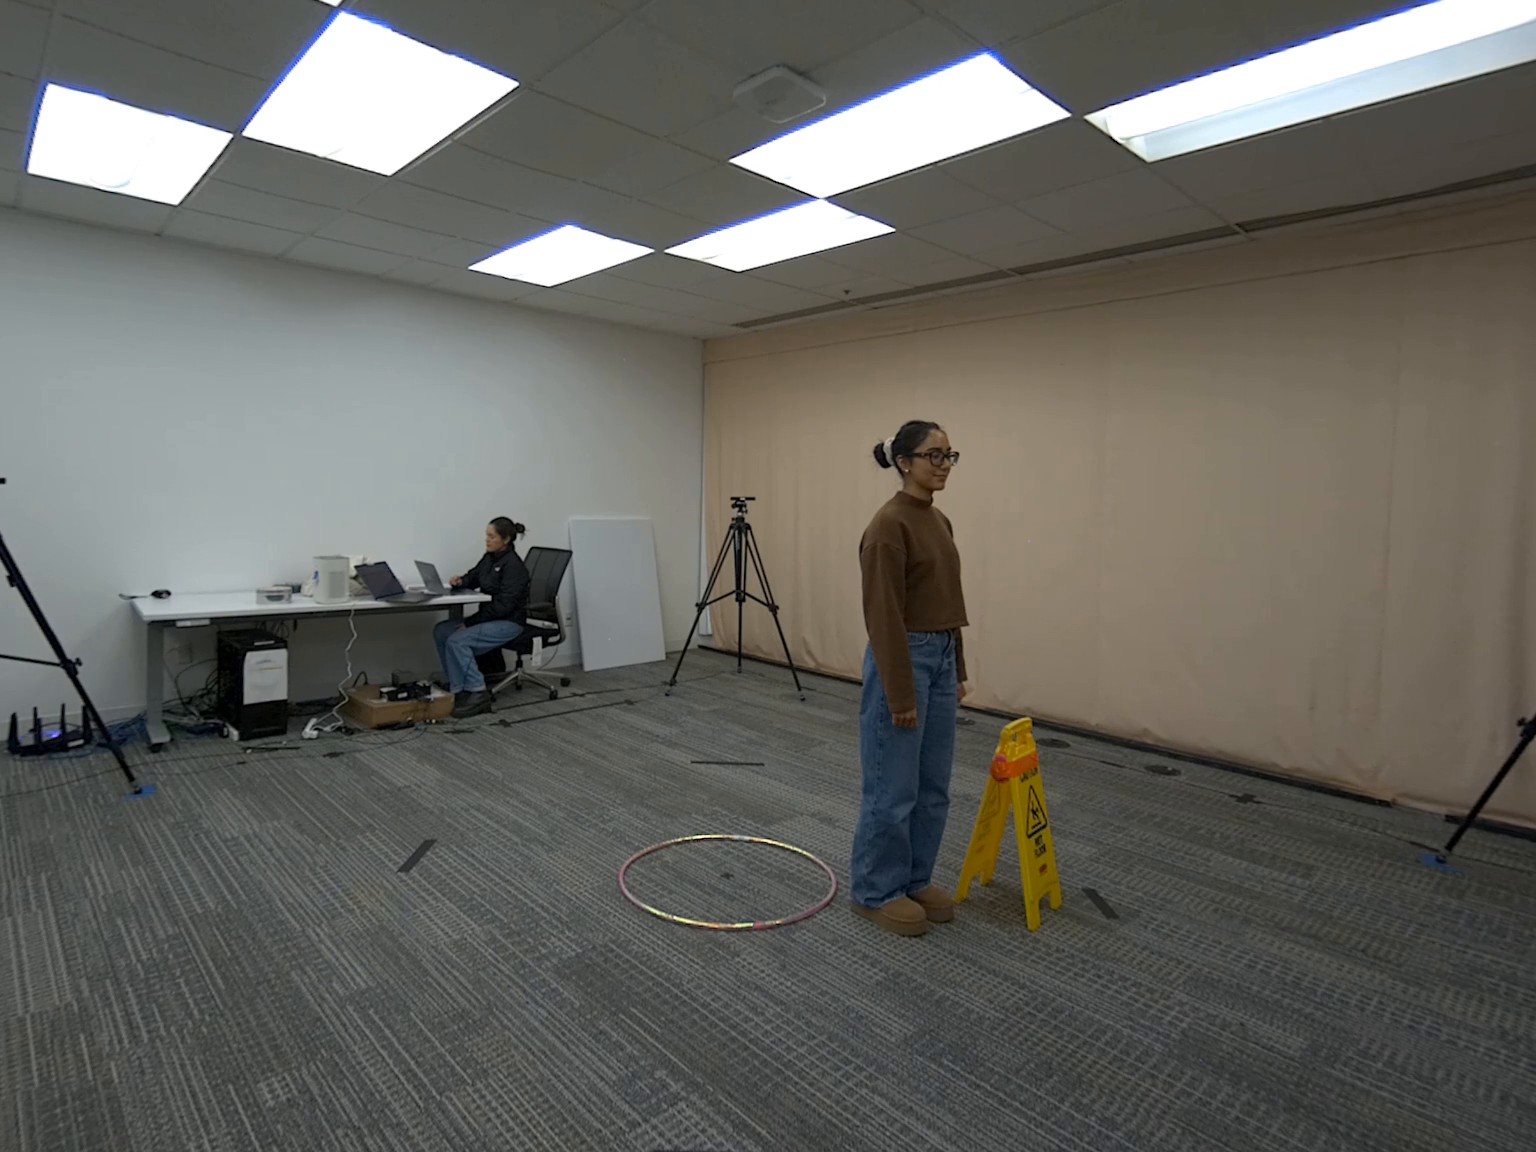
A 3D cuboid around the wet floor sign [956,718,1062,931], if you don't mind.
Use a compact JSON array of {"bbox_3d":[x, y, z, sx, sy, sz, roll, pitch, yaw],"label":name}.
[{"bbox_3d":[0.852,0.826,2.930,0.297,0.644,0.276,4,4,39],"label":"wet floor sign"}]
